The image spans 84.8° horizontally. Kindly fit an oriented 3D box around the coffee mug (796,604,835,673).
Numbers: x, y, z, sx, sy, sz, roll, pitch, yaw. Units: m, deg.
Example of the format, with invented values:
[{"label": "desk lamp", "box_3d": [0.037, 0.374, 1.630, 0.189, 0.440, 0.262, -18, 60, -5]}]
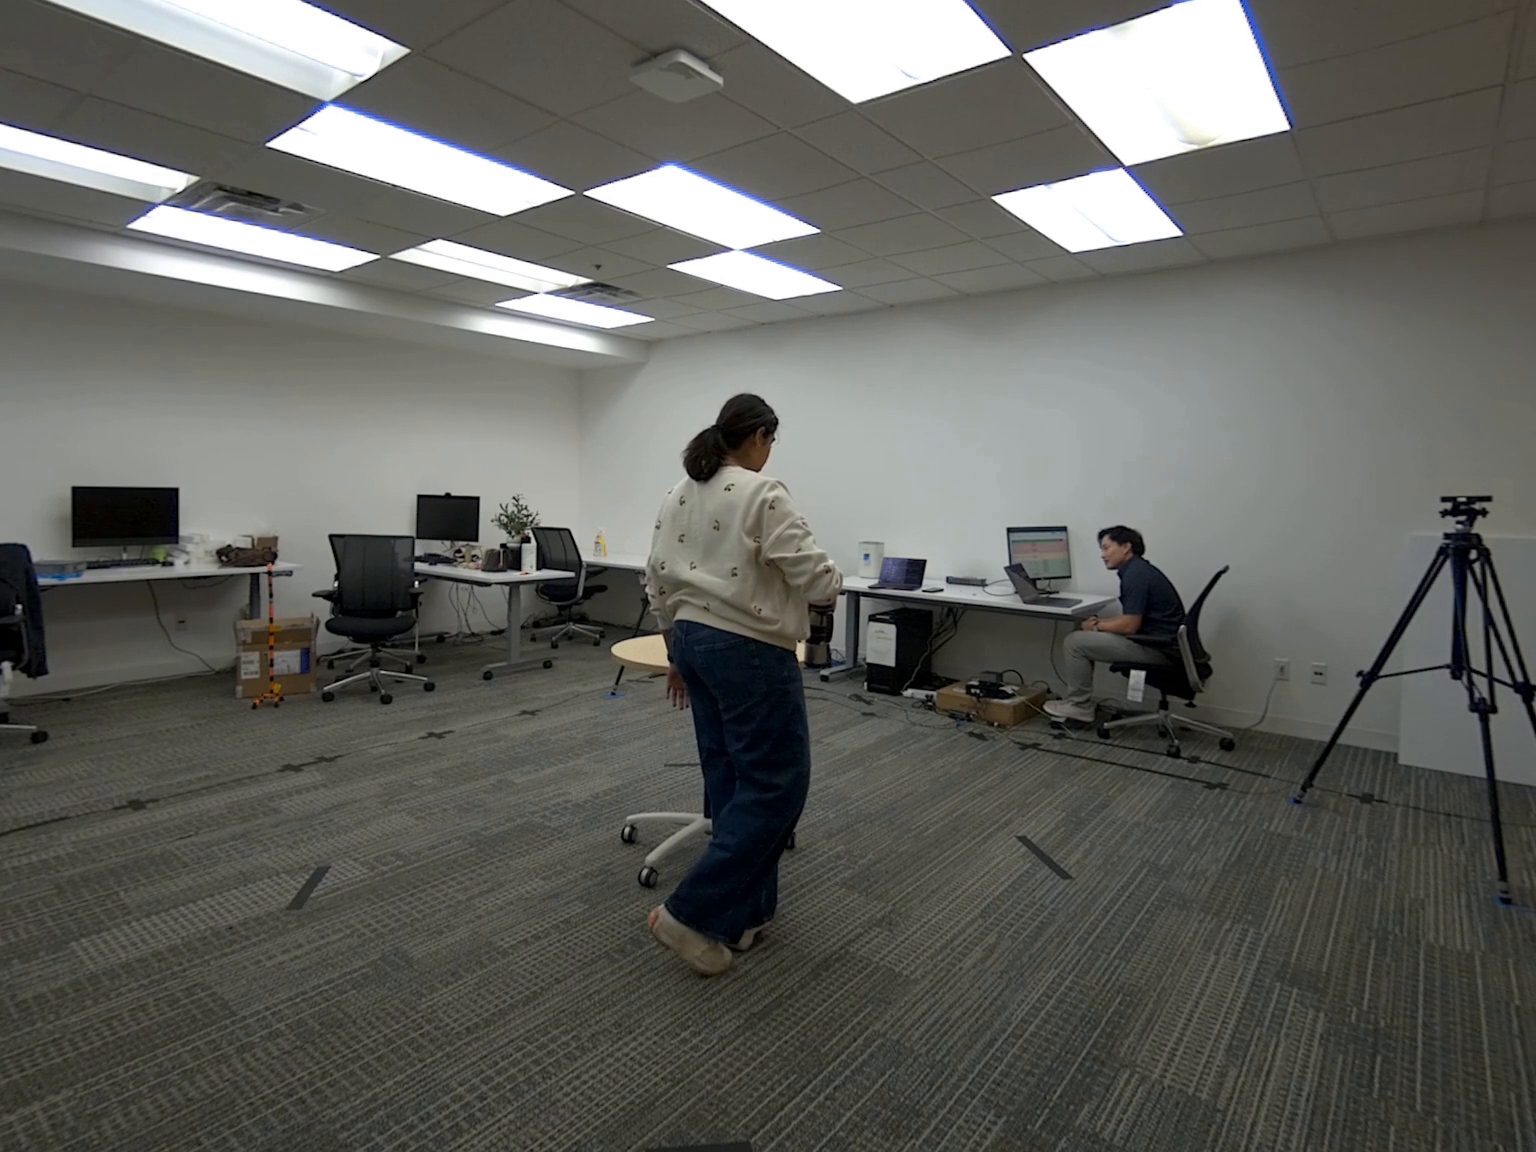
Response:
[{"label": "coffee mug", "box_3d": [0.127, 0.187, 2.668, 0.091, 0.202, 0.118, 11, 9, 37]}]
